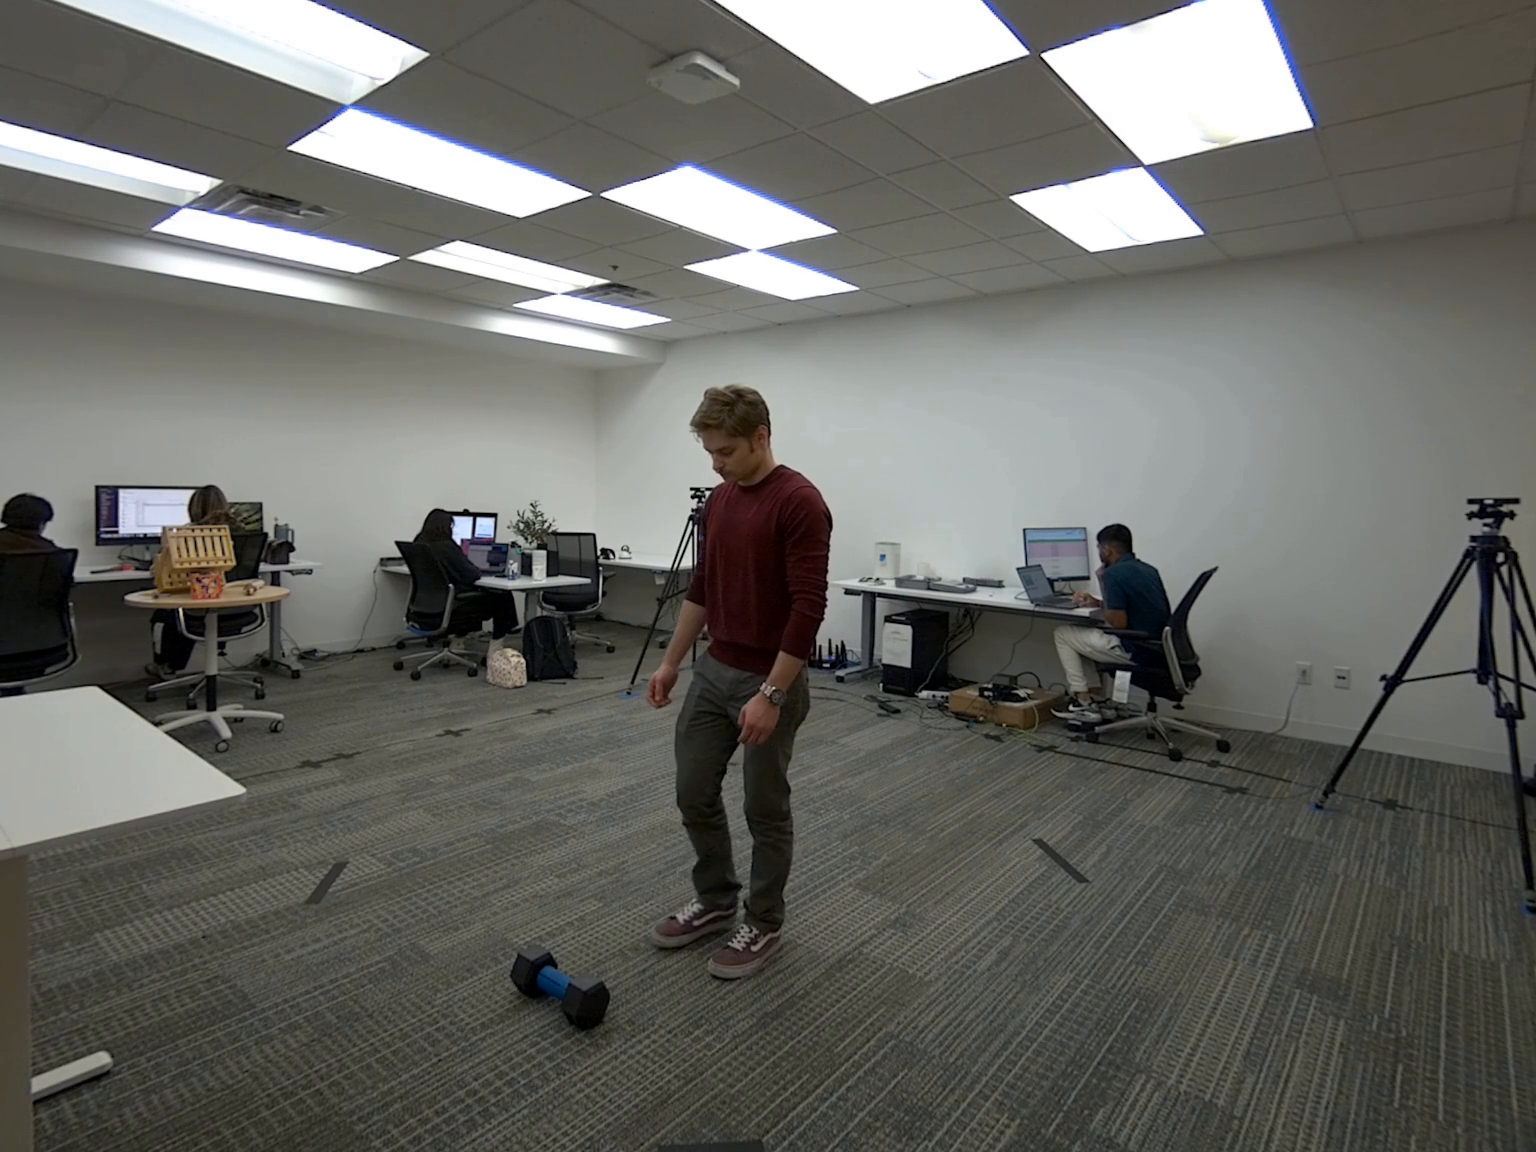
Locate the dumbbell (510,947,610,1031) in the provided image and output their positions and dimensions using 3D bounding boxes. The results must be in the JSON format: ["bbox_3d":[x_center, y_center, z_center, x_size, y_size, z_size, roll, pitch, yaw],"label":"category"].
[{"bbox_3d":[-0.564,1.090,2.267,0.303,0.119,0.109,4,37,37],"label":"dumbbell"}]
